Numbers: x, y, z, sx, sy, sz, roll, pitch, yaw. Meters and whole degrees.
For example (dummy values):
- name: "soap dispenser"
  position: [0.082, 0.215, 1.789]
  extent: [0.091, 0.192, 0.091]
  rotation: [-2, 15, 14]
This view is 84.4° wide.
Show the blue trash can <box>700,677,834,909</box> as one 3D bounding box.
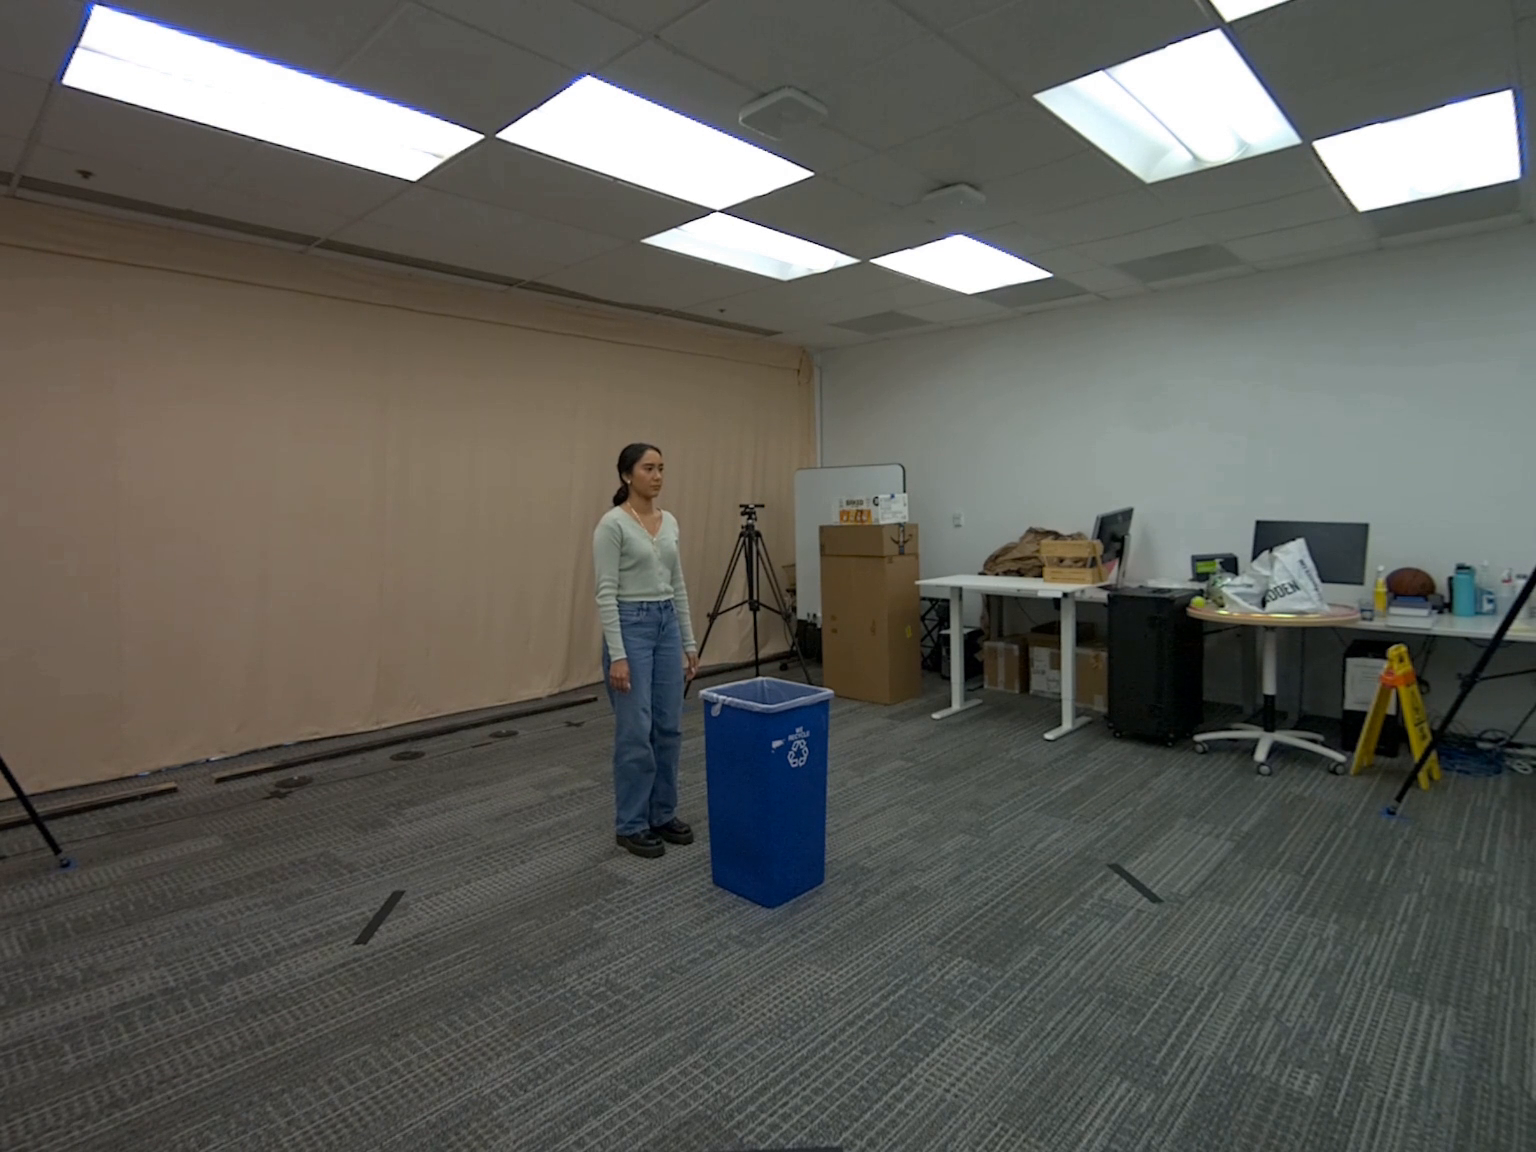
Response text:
- name: "blue trash can"
  position: [0.000, 0.771, 3.085]
  extent: [0.391, 0.712, 0.363]
  rotation: [3, 5, 45]
